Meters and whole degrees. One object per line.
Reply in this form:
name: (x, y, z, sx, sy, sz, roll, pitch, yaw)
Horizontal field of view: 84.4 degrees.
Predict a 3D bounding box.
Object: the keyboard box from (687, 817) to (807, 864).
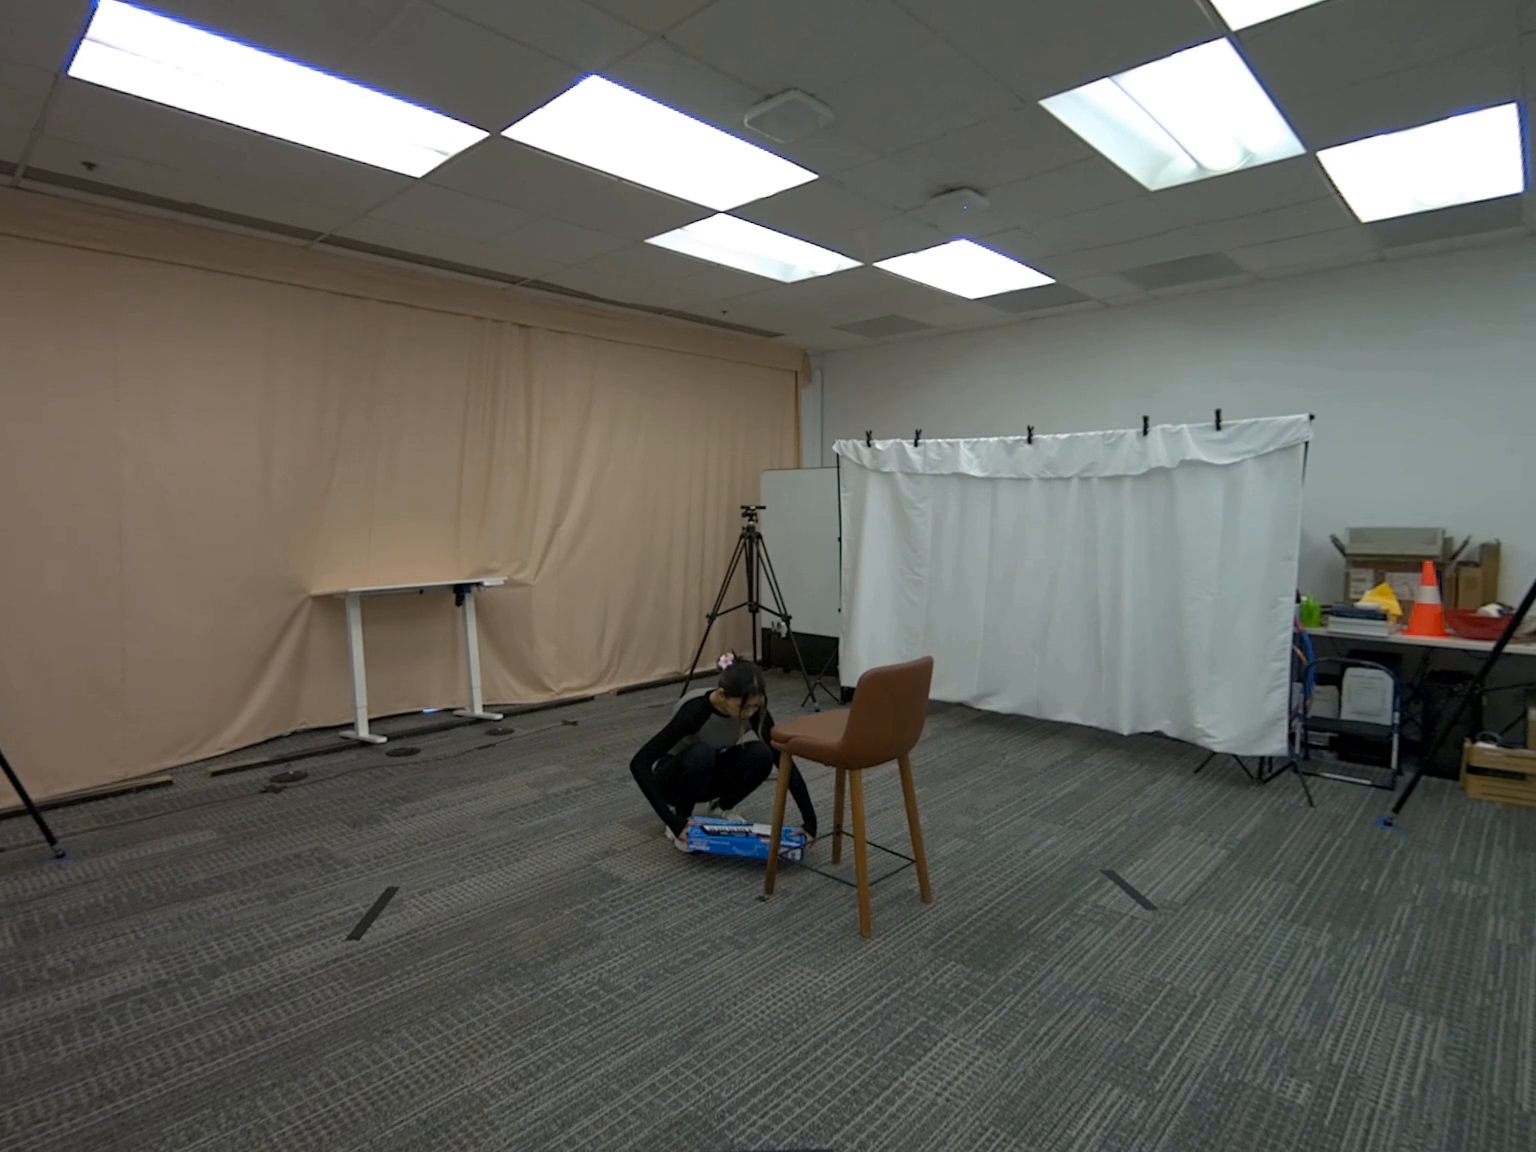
keyboard box: (-0.077, 1.011, 3.259, 0.439, 0.059, 0.175, 4, 7, 5)
